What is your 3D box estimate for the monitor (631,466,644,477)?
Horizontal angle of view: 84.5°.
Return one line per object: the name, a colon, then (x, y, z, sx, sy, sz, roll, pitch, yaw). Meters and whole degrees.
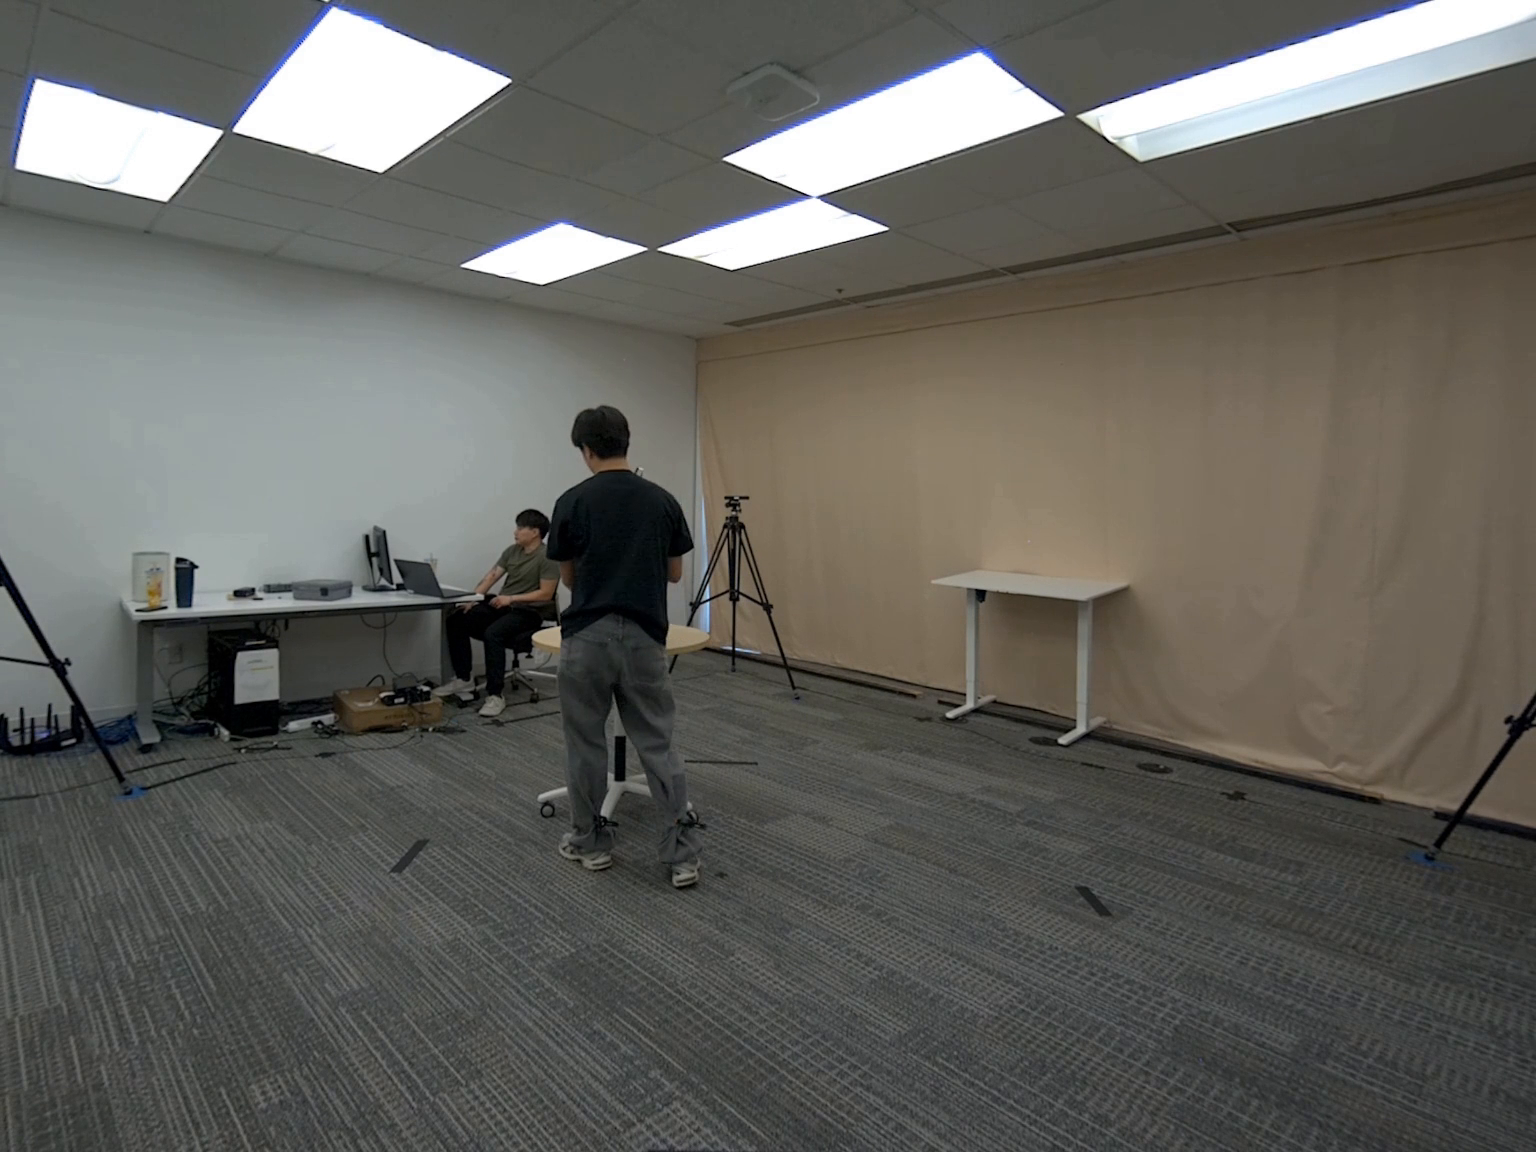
monitor: (-0.614, -0.130, 3.537, 0.220, 0.569, 0.565, 3, -6, -14)
